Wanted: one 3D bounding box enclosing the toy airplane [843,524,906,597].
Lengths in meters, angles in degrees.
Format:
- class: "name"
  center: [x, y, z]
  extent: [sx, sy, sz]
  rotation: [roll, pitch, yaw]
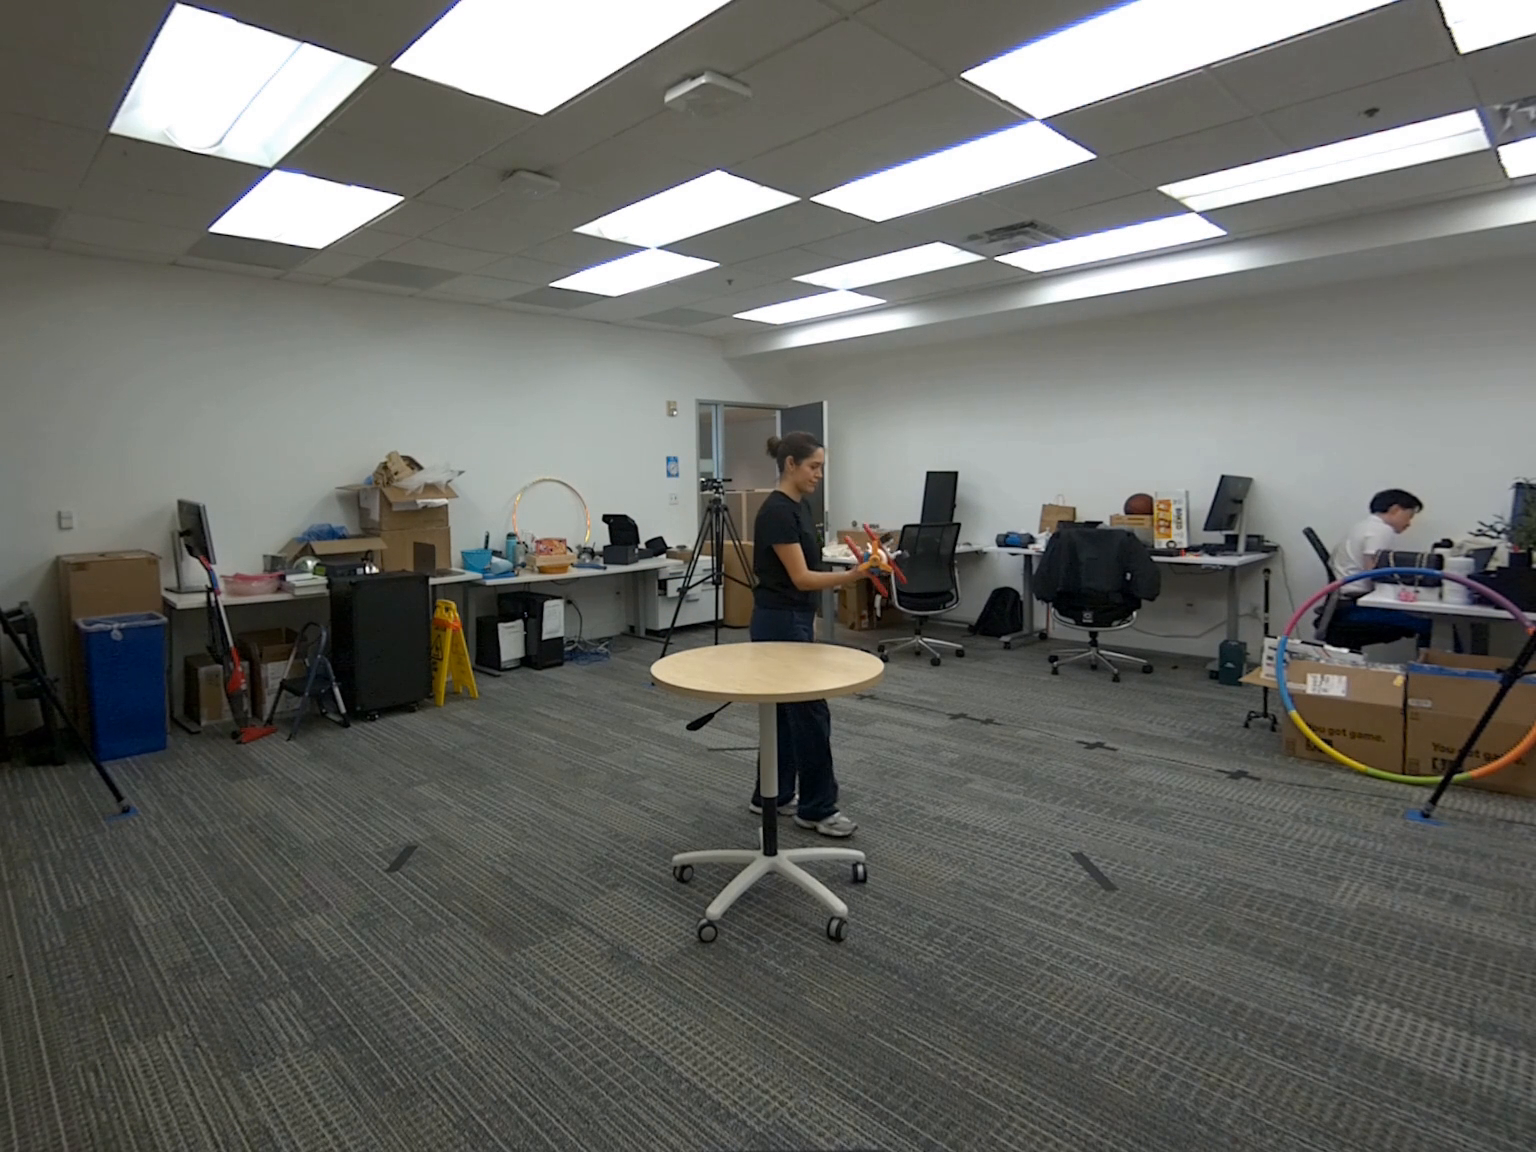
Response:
- class: "toy airplane"
  center: [0.389, -0.052, 3.078]
  extent: [0.156, 0.260, 0.250]
  rotation: [-32, -33, -4]
